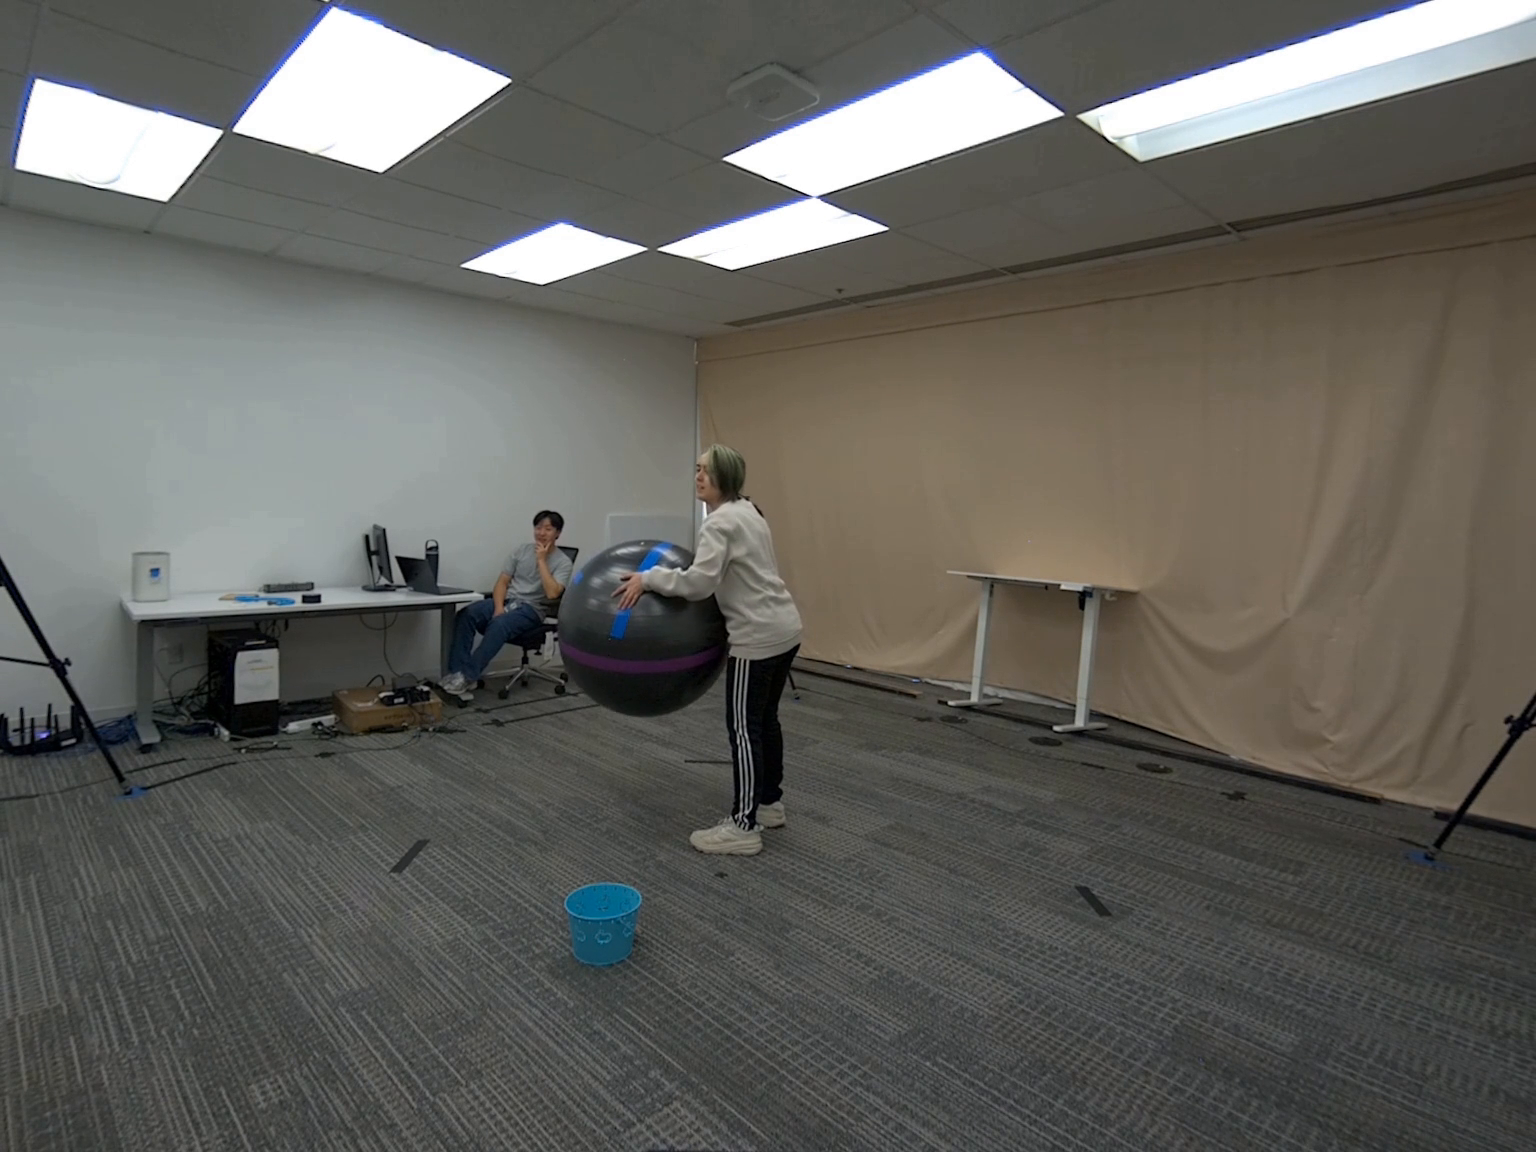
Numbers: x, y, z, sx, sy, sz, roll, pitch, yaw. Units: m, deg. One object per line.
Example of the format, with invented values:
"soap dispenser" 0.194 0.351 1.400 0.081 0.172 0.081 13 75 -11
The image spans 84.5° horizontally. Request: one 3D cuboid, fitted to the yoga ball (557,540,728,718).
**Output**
"yoga ball" -0.532 0.231 3.645 0.757 0.756 0.761 1 4 -1
